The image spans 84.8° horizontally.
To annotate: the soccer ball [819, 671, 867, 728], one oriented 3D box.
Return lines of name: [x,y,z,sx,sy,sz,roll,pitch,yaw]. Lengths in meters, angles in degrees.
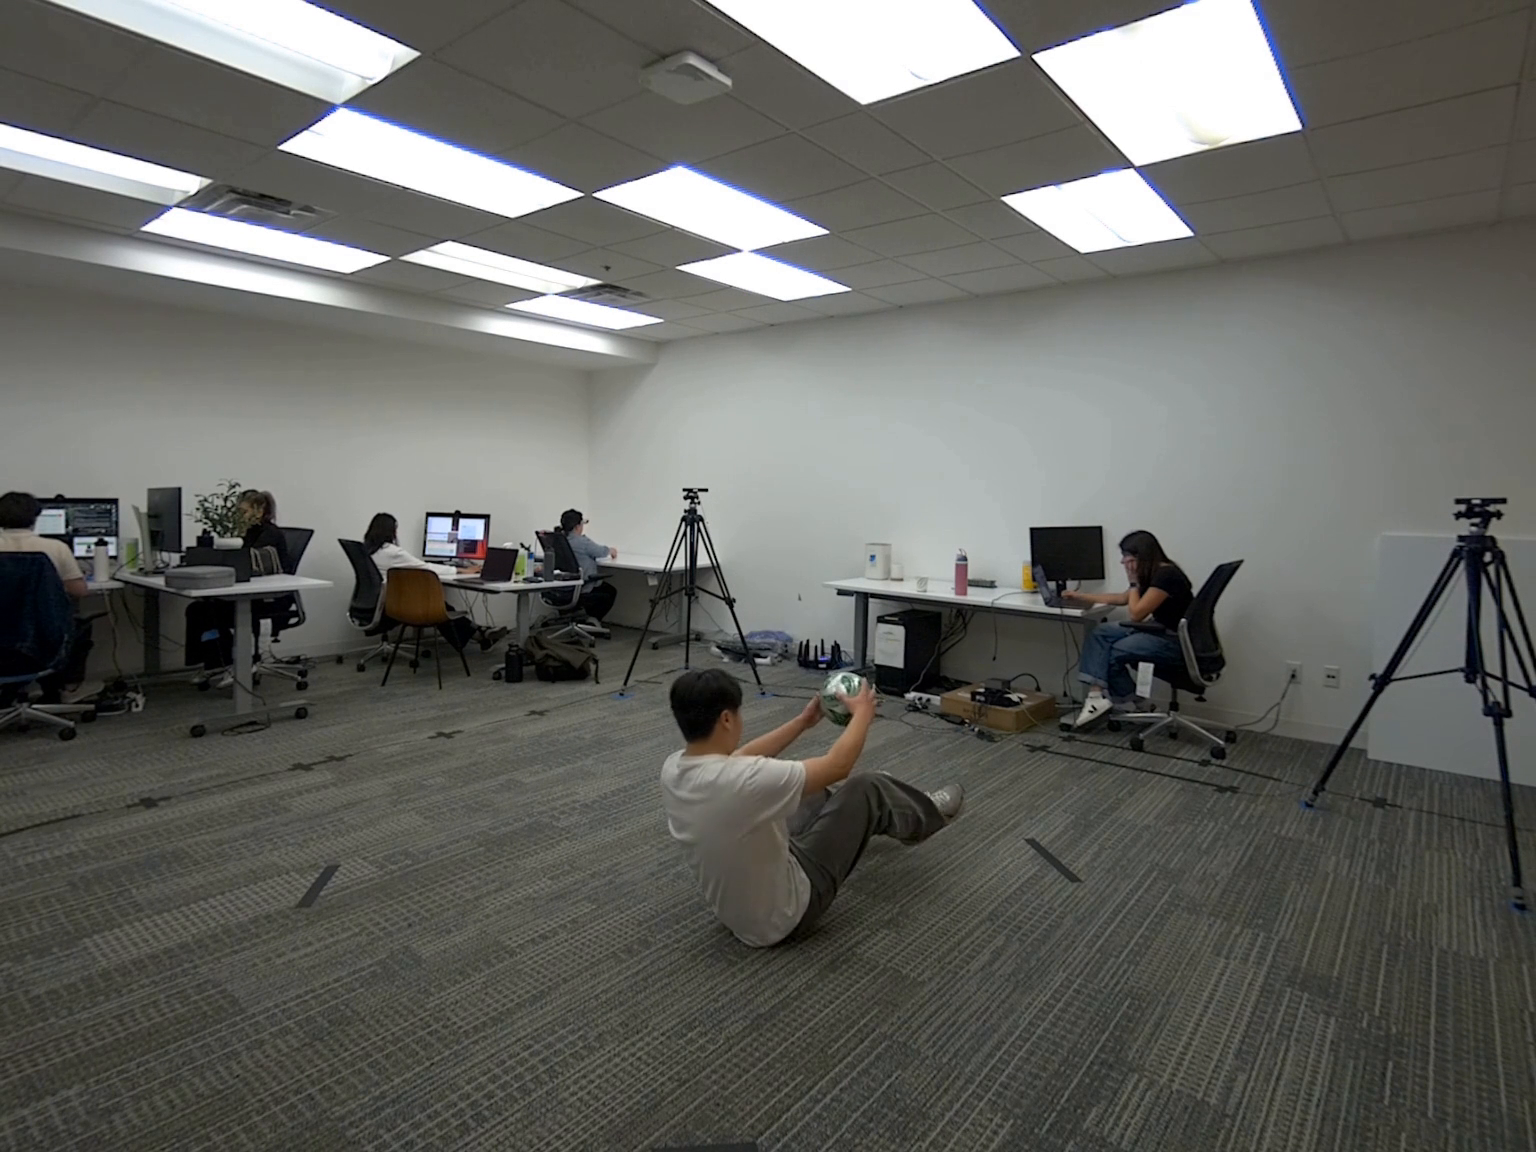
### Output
soccer ball: [0.309,0.437,2.969,0.187,0.187,0.188,1,4,-2]
